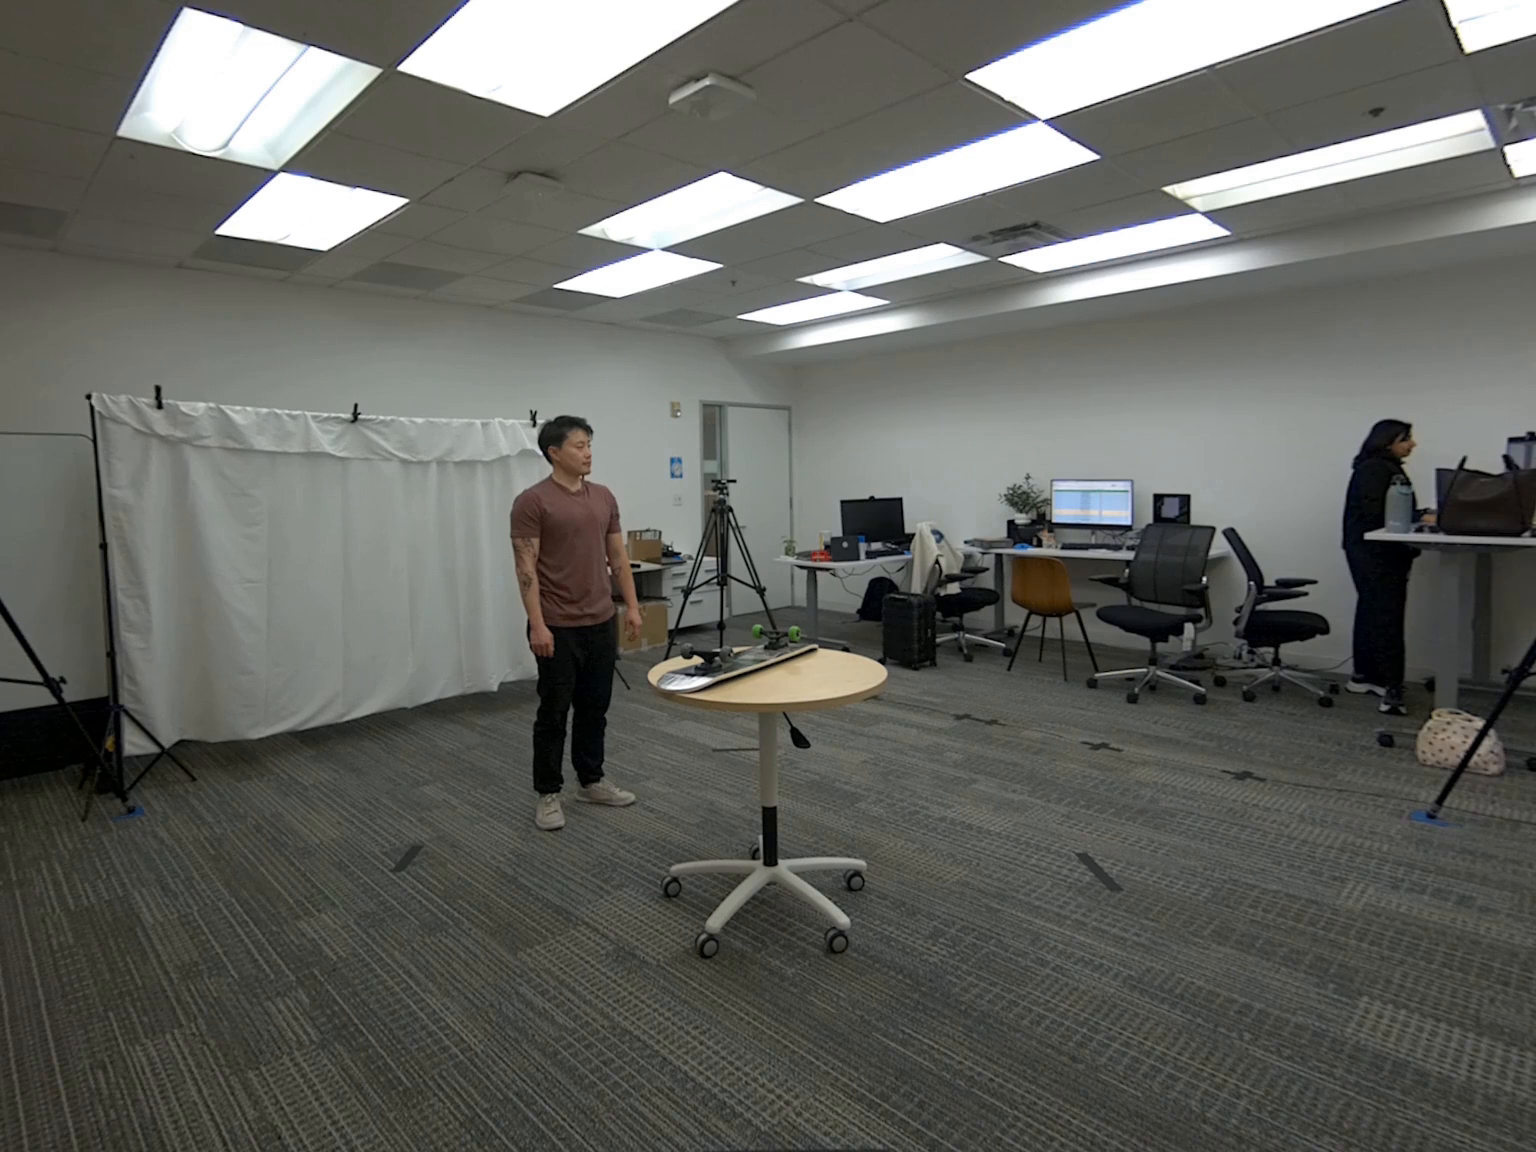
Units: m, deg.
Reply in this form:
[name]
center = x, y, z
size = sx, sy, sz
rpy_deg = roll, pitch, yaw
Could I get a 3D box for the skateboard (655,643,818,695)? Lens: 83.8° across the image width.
[skateboard]
center = -0.072, 0.252, 2.818
size = 0.199, 0.110, 0.767
rpy_deg = -2, 6, 35
